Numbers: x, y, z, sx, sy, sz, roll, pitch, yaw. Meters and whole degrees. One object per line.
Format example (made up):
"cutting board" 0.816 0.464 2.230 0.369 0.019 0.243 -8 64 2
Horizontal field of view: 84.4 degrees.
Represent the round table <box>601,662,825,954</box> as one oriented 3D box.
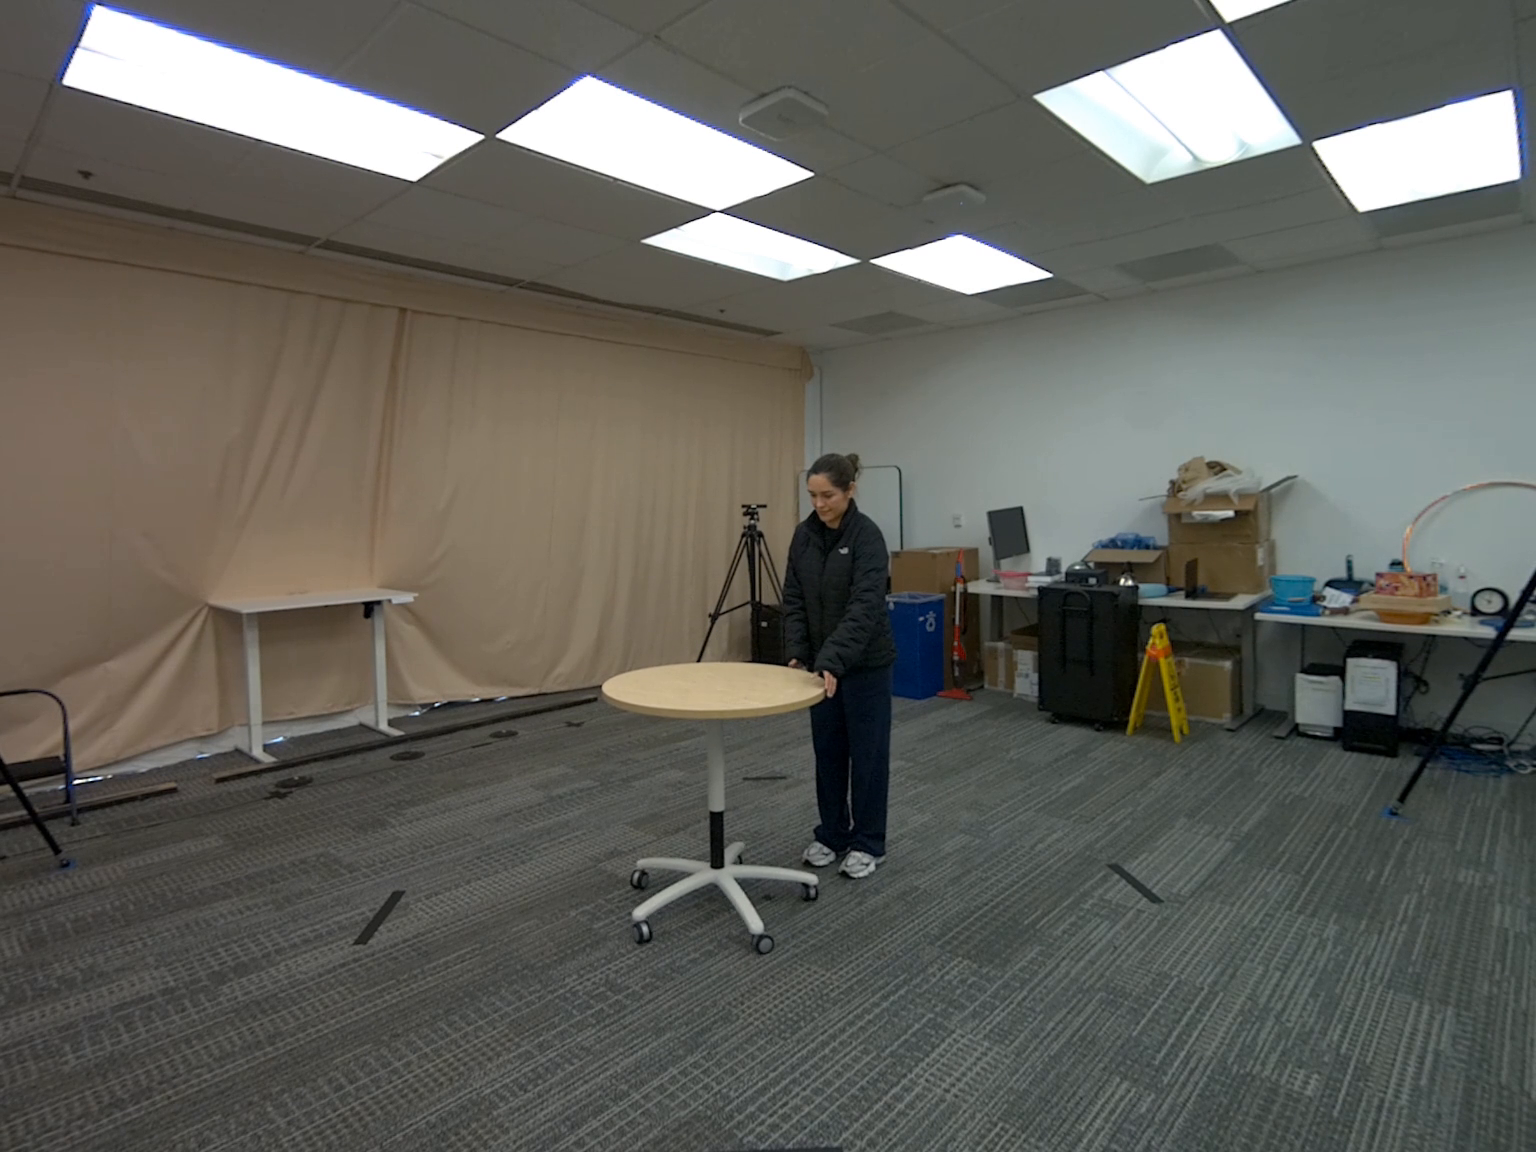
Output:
"round table" -0.150 0.757 2.902 0.784 0.784 0.788 -1 4 -2
